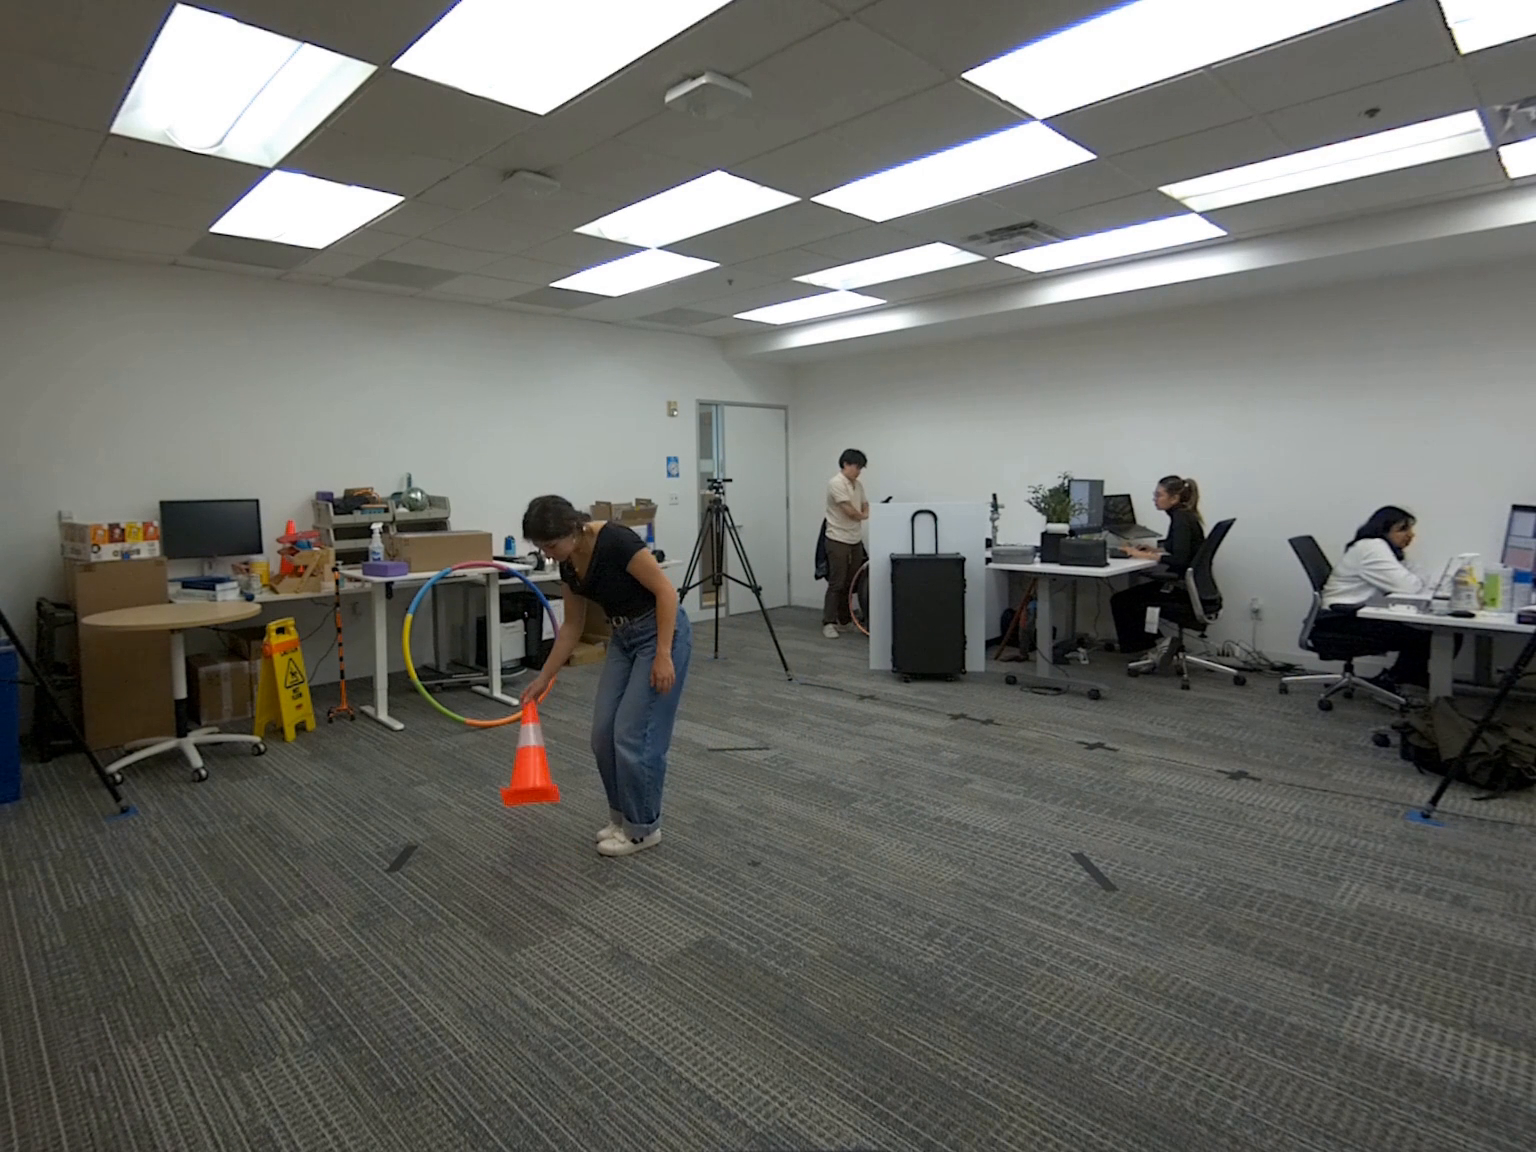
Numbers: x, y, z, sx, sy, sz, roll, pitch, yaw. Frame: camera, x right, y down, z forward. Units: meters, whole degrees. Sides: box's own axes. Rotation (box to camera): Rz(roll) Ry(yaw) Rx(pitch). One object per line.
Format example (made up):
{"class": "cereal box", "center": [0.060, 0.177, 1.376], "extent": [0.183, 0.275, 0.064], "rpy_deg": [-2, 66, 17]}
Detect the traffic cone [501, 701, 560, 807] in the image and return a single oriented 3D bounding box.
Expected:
{"class": "traffic cone", "center": [-0.881, 0.615, 3.166], "extent": [0.202, 0.395, 0.201], "rpy_deg": [-4, -33, -9]}
